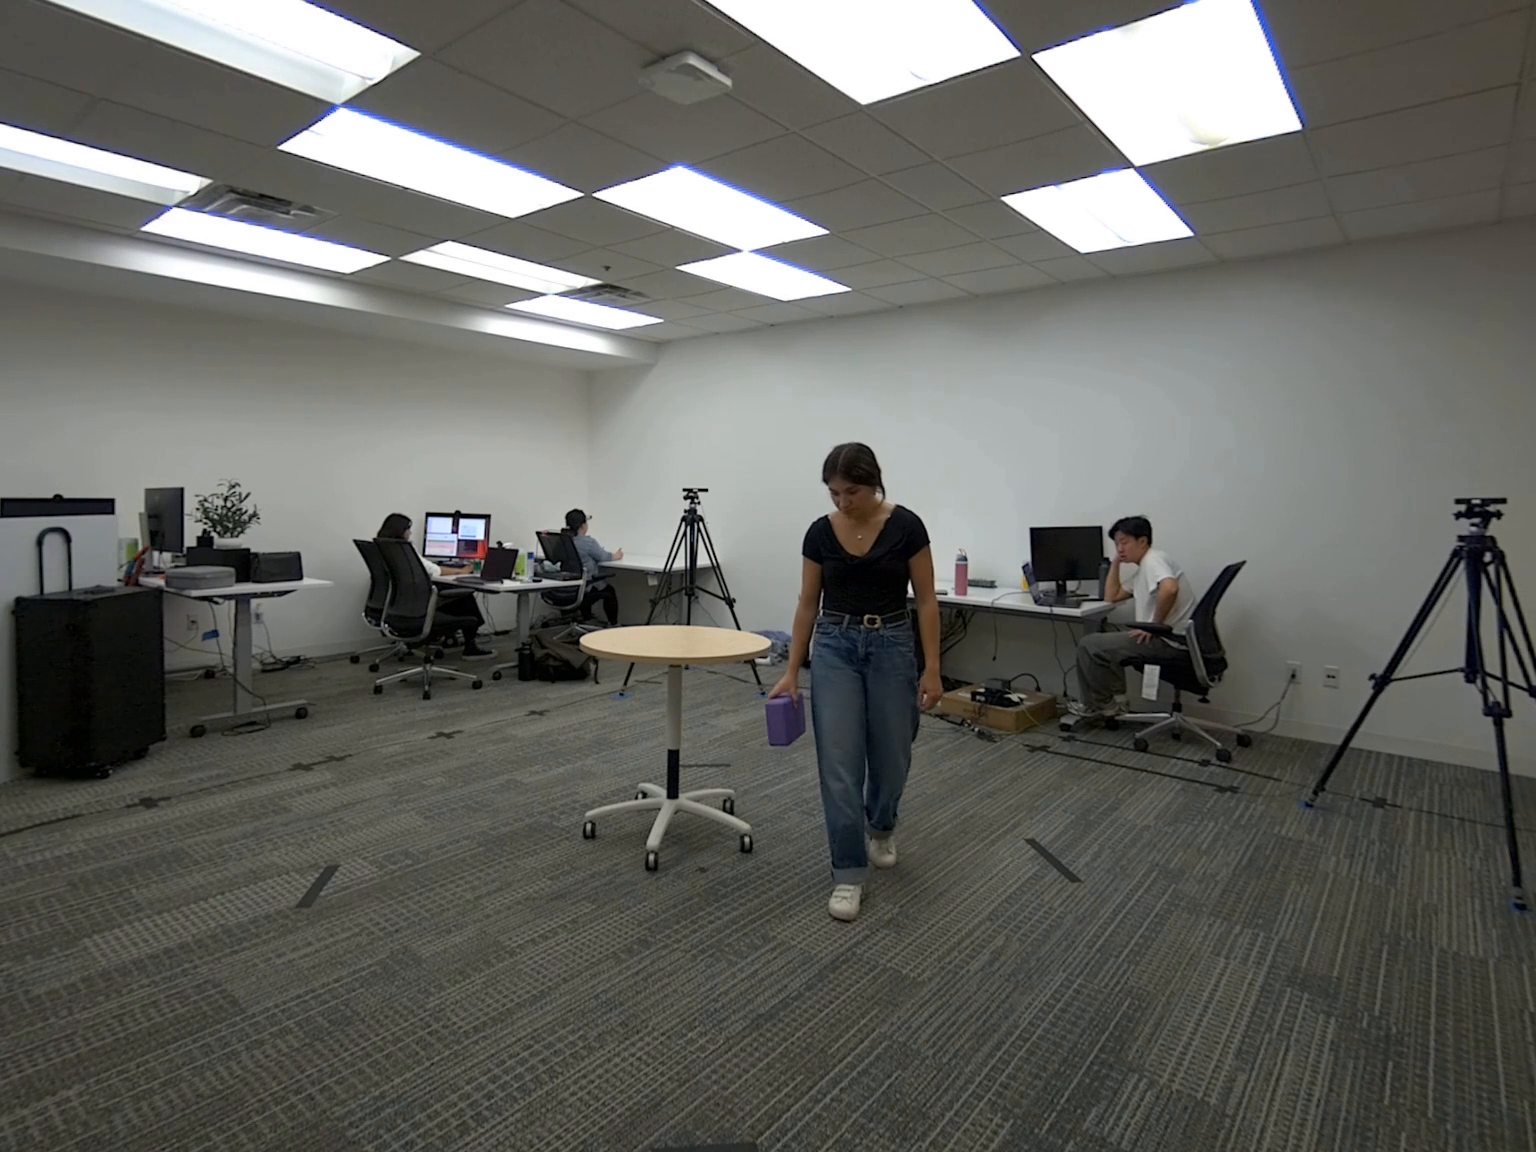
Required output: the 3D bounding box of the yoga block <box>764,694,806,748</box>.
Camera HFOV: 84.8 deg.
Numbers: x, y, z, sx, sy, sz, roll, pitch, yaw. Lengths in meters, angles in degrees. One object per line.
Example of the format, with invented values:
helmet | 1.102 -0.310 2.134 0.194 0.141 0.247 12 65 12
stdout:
yoga block | 0.060 0.479 2.947 0.078 0.149 0.224 -4 0 19
